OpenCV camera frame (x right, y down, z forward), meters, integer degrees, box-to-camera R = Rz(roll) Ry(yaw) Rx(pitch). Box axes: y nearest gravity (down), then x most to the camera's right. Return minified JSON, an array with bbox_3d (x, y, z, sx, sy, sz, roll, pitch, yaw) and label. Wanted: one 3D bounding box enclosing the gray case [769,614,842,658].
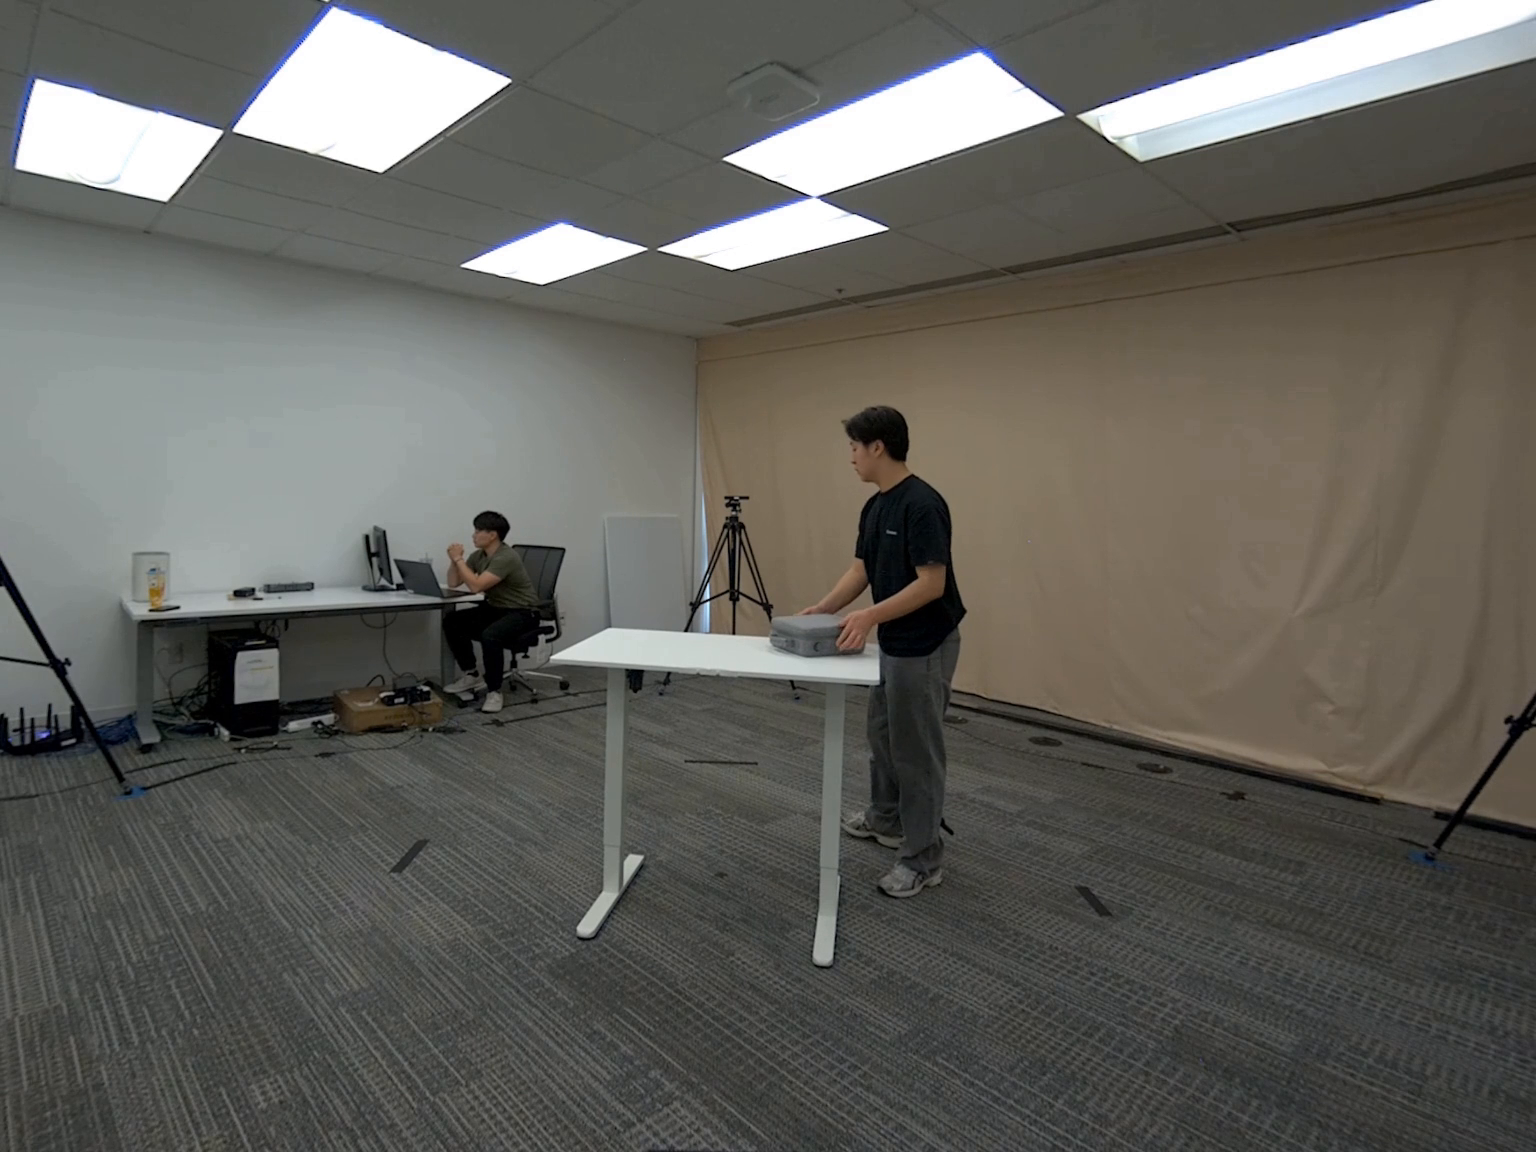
[{"bbox_3d":[0.154,0.196,2.849,0.259,0.102,0.293,-2,7,-24],"label":"gray case"}]
